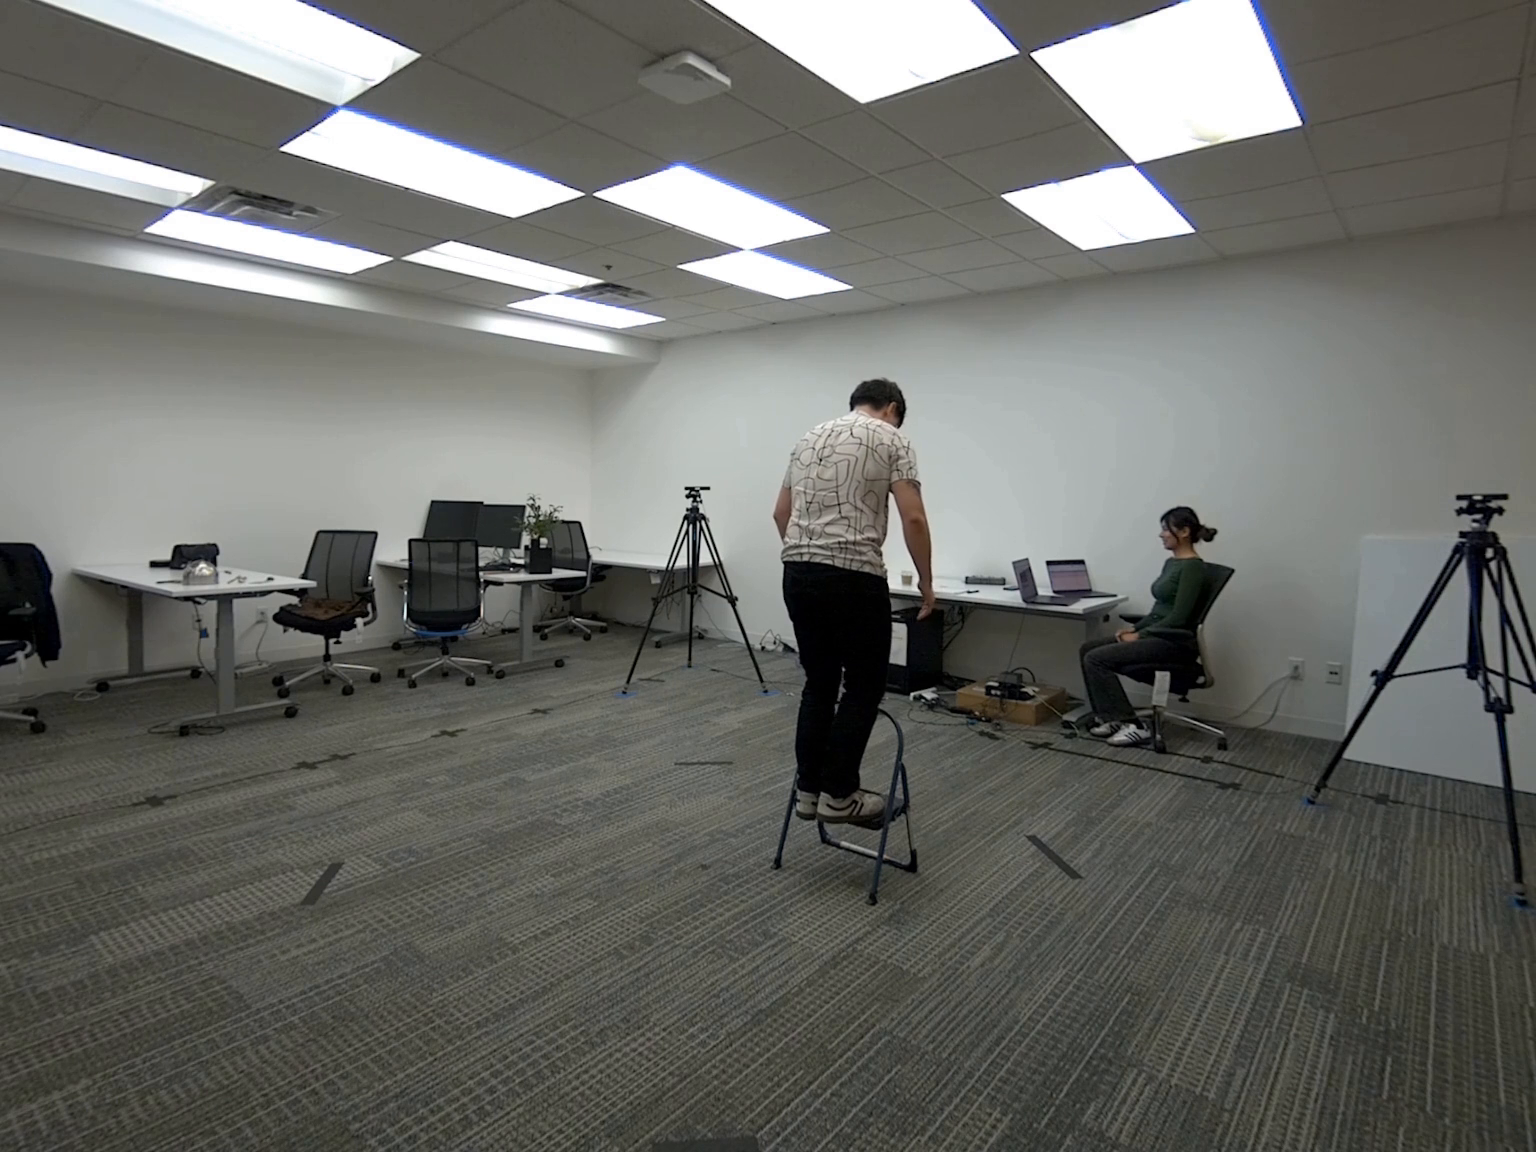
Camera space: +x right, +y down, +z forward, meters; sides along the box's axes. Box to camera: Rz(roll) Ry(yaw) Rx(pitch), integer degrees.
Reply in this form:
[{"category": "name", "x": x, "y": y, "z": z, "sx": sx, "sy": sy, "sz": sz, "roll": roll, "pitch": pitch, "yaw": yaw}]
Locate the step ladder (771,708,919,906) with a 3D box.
[{"category": "step ladder", "x": 0.285, "y": 0.769, "z": 3.104, "sx": 0.445, "sy": 0.604, "sz": 0.339, "roll": 4, "pitch": 4, "yaw": 37}]
